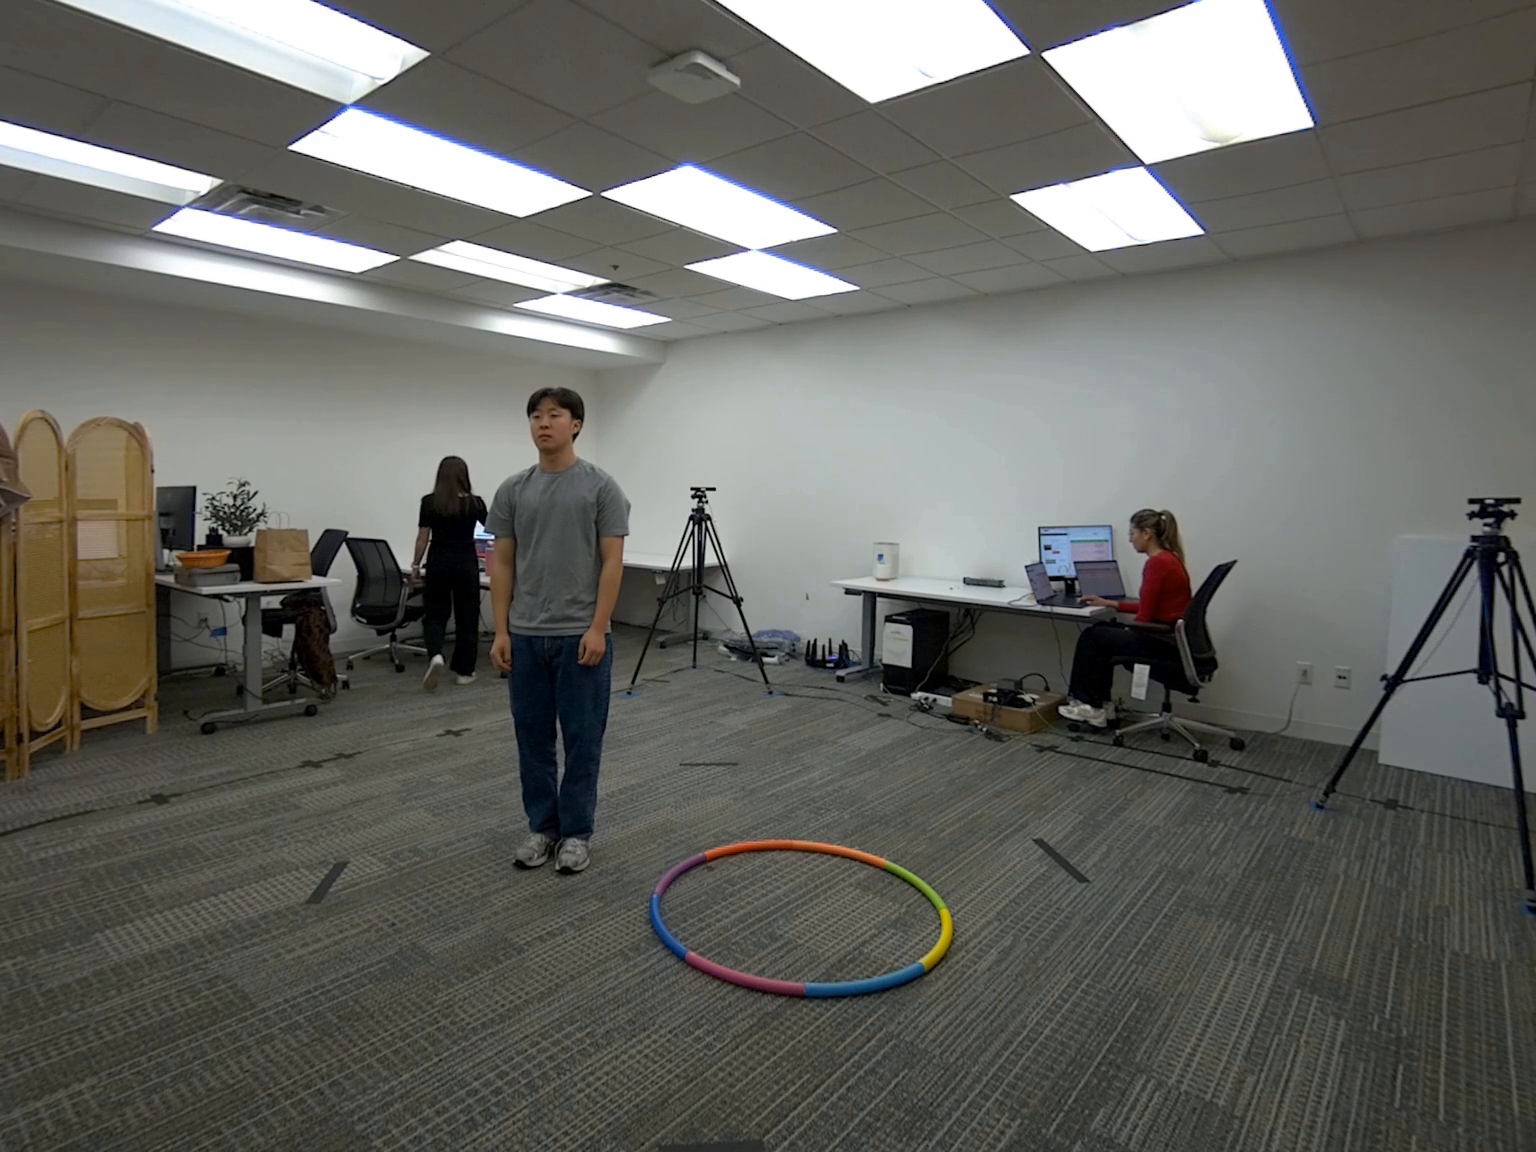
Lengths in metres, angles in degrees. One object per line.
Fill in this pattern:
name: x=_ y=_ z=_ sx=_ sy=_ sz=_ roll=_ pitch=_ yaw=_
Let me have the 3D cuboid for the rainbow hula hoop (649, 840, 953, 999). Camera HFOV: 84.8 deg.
rainbow hula hoop: x=0.089 y=1.073 z=2.808 sx=0.978 sy=0.035 sz=0.984 roll=1 pitch=6 yaw=-2
